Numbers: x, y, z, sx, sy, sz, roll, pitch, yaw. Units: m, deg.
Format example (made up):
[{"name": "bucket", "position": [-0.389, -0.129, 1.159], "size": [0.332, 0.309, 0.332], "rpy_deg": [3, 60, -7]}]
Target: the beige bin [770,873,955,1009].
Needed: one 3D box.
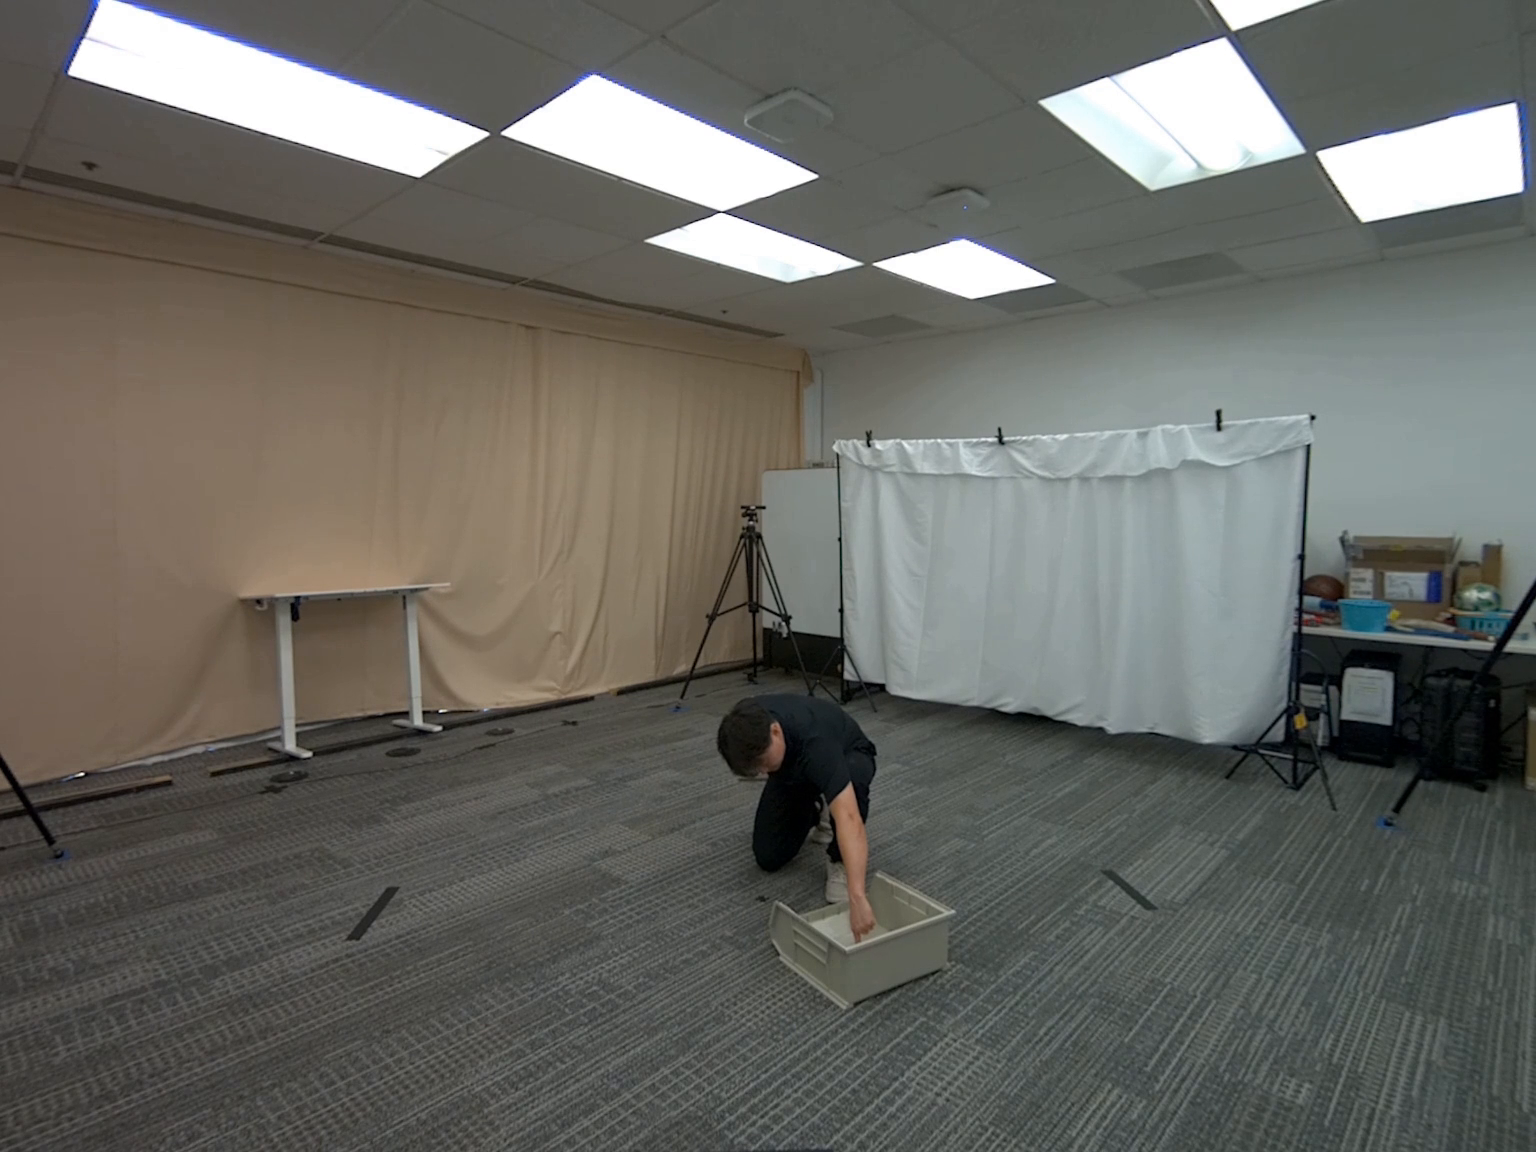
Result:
[{"name": "beige bin", "position": [0.280, 1.081, 2.574], "size": [0.410, 0.188, 0.389], "rpy_deg": [-2, 5, -33]}]
